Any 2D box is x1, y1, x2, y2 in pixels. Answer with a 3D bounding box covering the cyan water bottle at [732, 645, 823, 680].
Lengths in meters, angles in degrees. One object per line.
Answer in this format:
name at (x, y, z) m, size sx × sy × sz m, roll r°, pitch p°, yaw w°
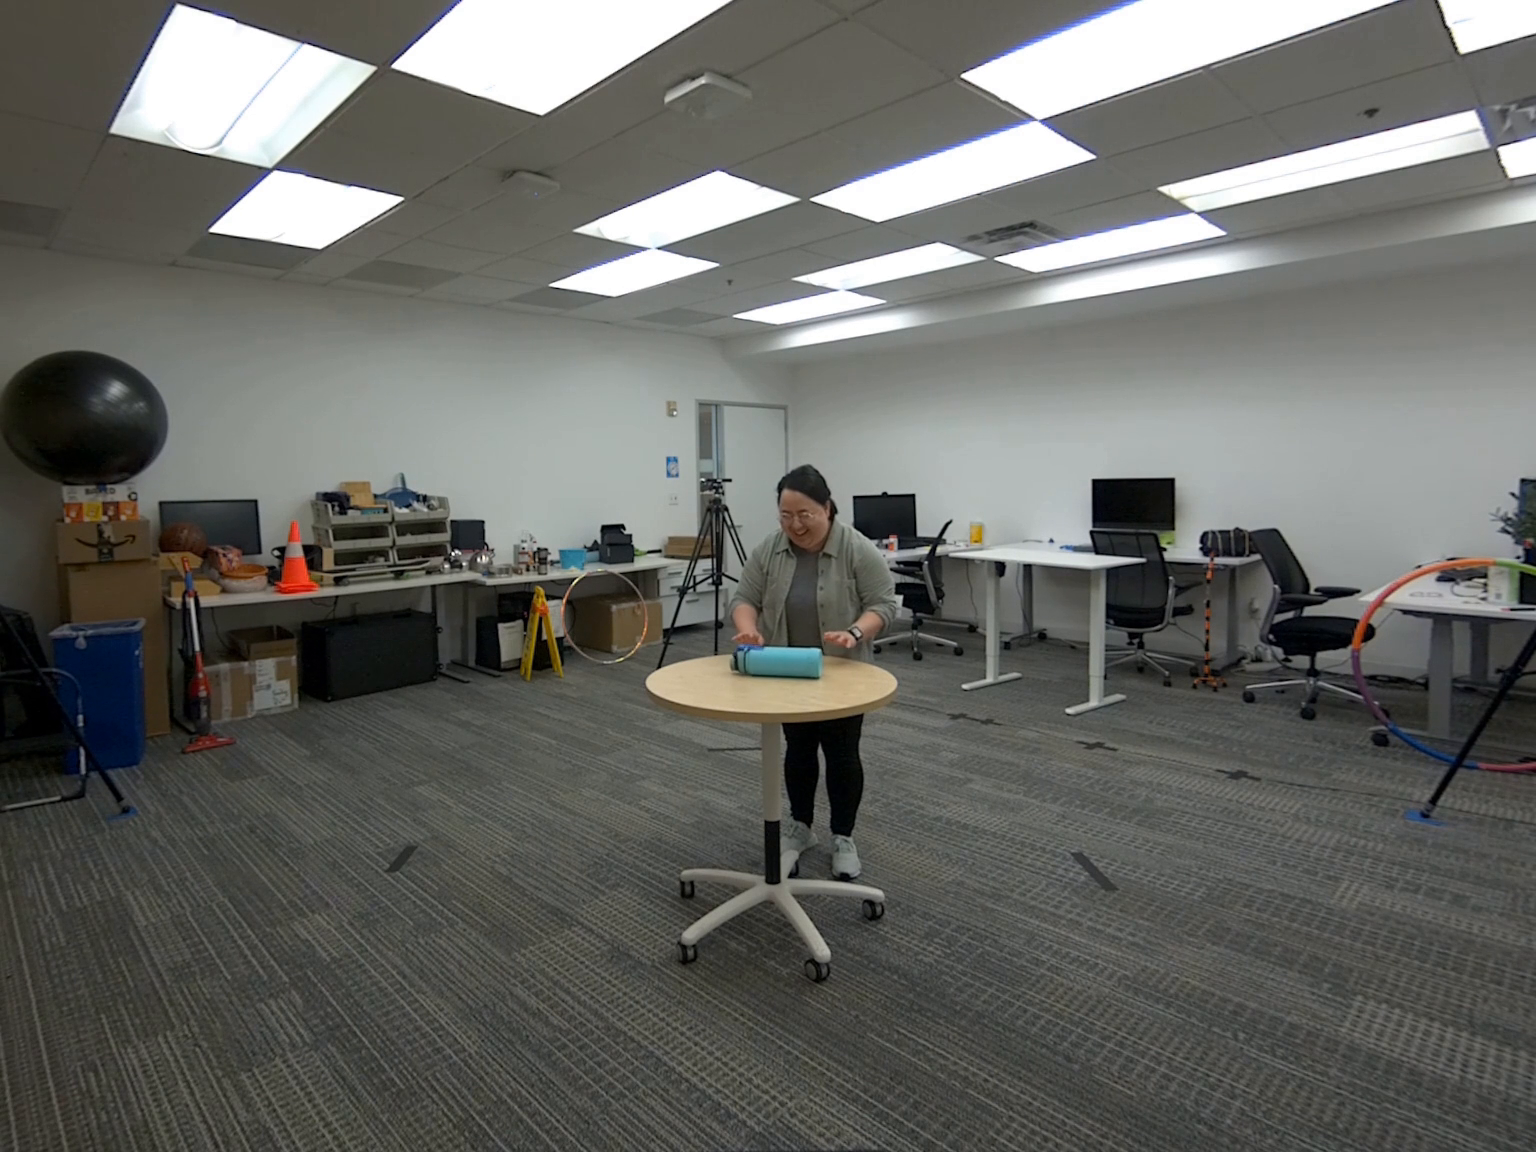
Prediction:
cyan water bottle at (0.036, 0.269, 2.661) m, size 0.287 × 0.092 × 0.091 m, roll 0°, pitch 5°, yaw 14°
